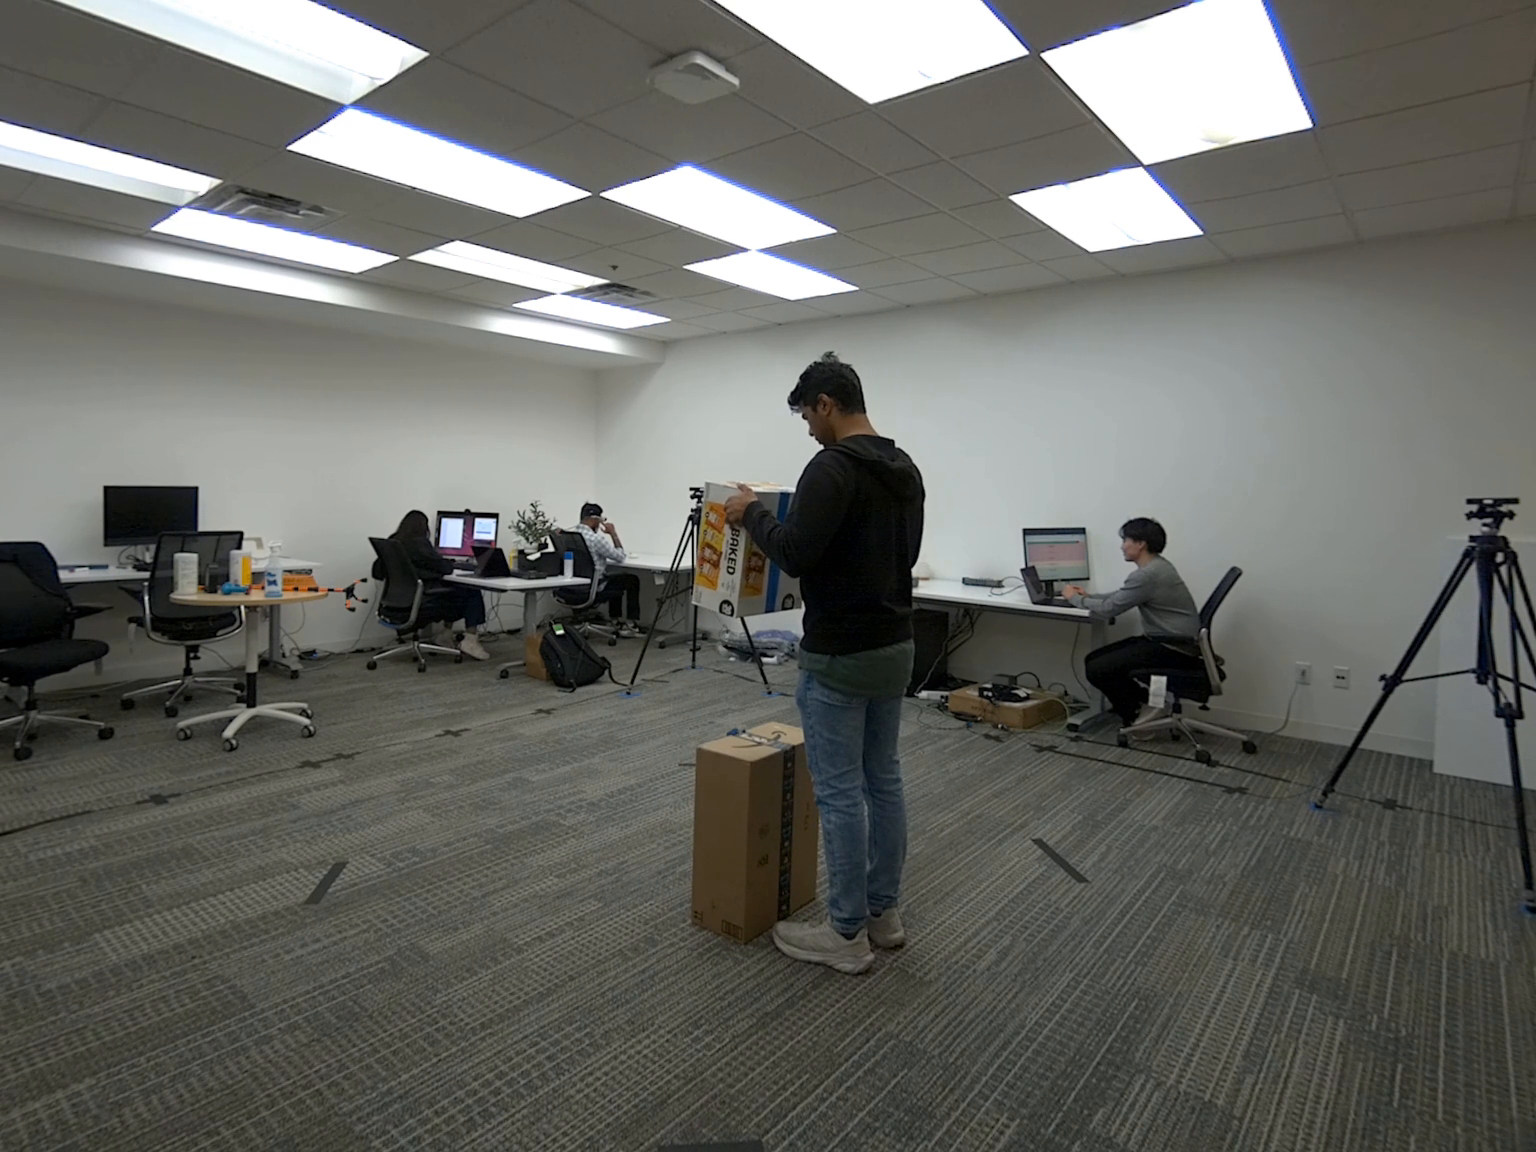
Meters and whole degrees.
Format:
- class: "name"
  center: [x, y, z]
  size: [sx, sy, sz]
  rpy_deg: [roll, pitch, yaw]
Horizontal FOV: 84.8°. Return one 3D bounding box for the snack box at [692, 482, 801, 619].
- class: "snack box"
  center: [-0.054, -0.087, 2.808]
  size: [0.213, 0.402, 0.330]
  rpy_deg: [14, 12, 40]
